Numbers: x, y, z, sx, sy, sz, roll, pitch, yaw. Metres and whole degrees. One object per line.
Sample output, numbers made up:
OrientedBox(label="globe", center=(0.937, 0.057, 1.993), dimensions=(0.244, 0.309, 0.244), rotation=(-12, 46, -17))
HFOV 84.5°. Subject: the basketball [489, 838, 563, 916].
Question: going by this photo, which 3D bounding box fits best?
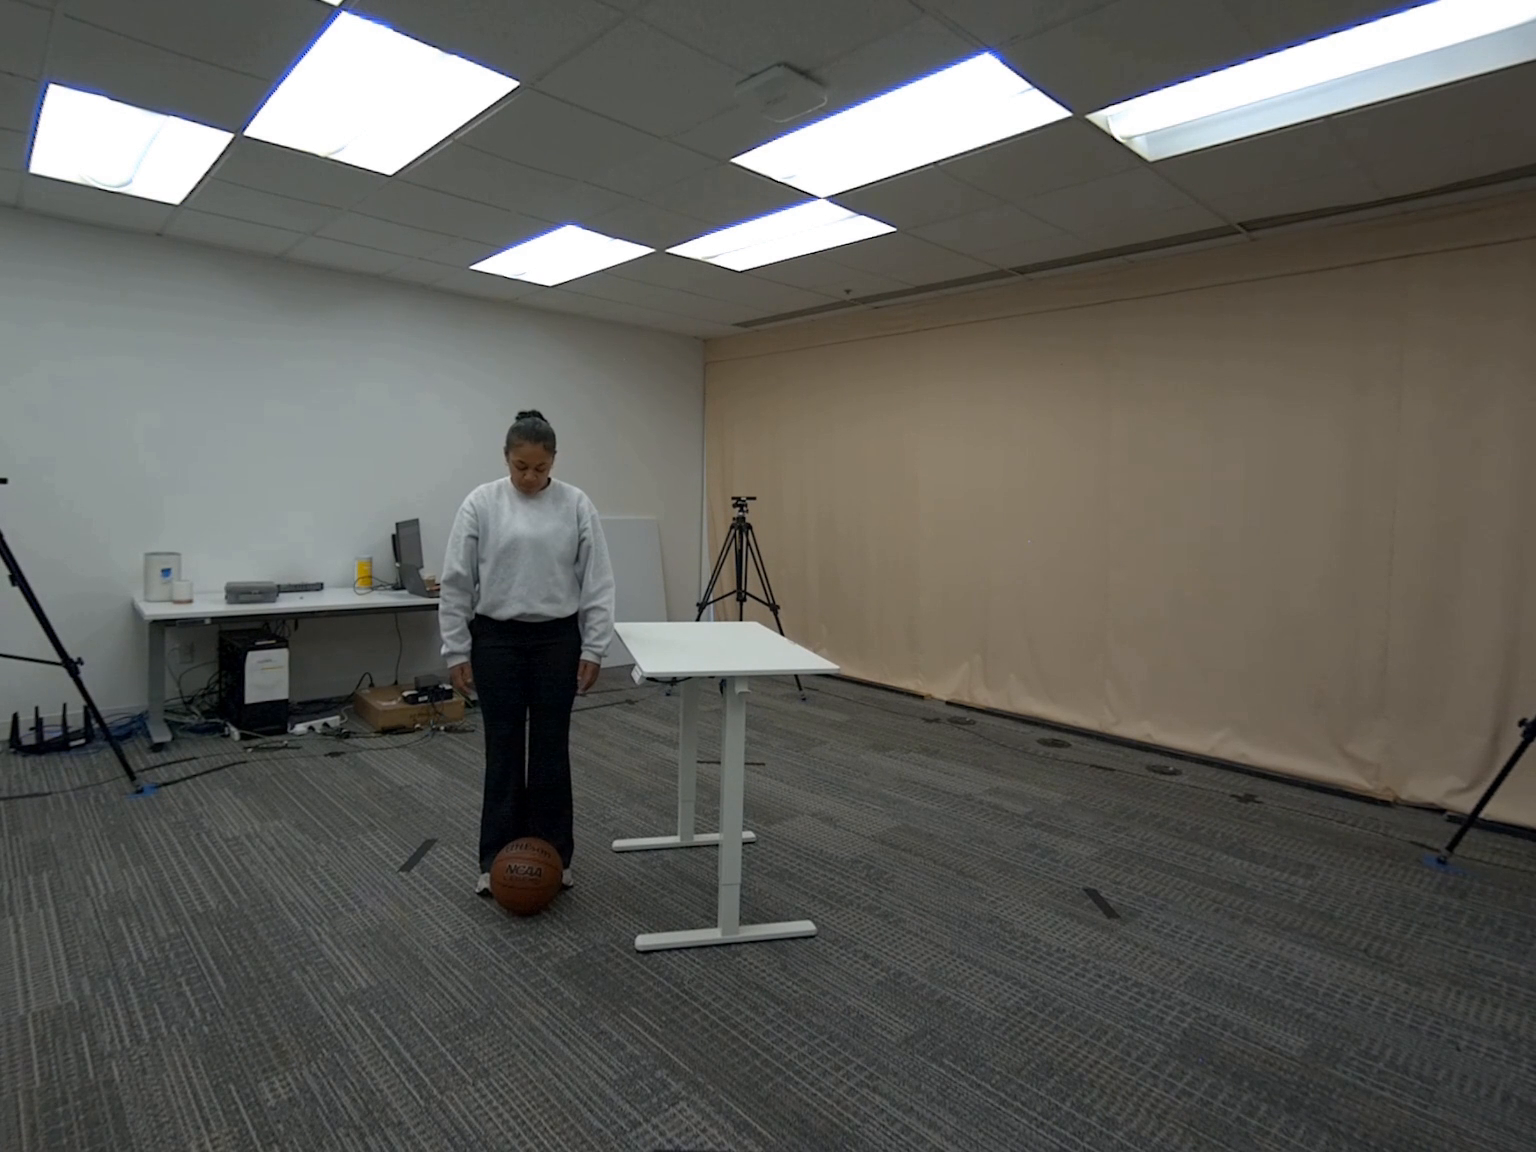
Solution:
OrientedBox(label="basketball", center=(-0.814, 1.002, 2.808), dimensions=(0.236, 0.235, 0.237), rotation=(1, 4, -1))
